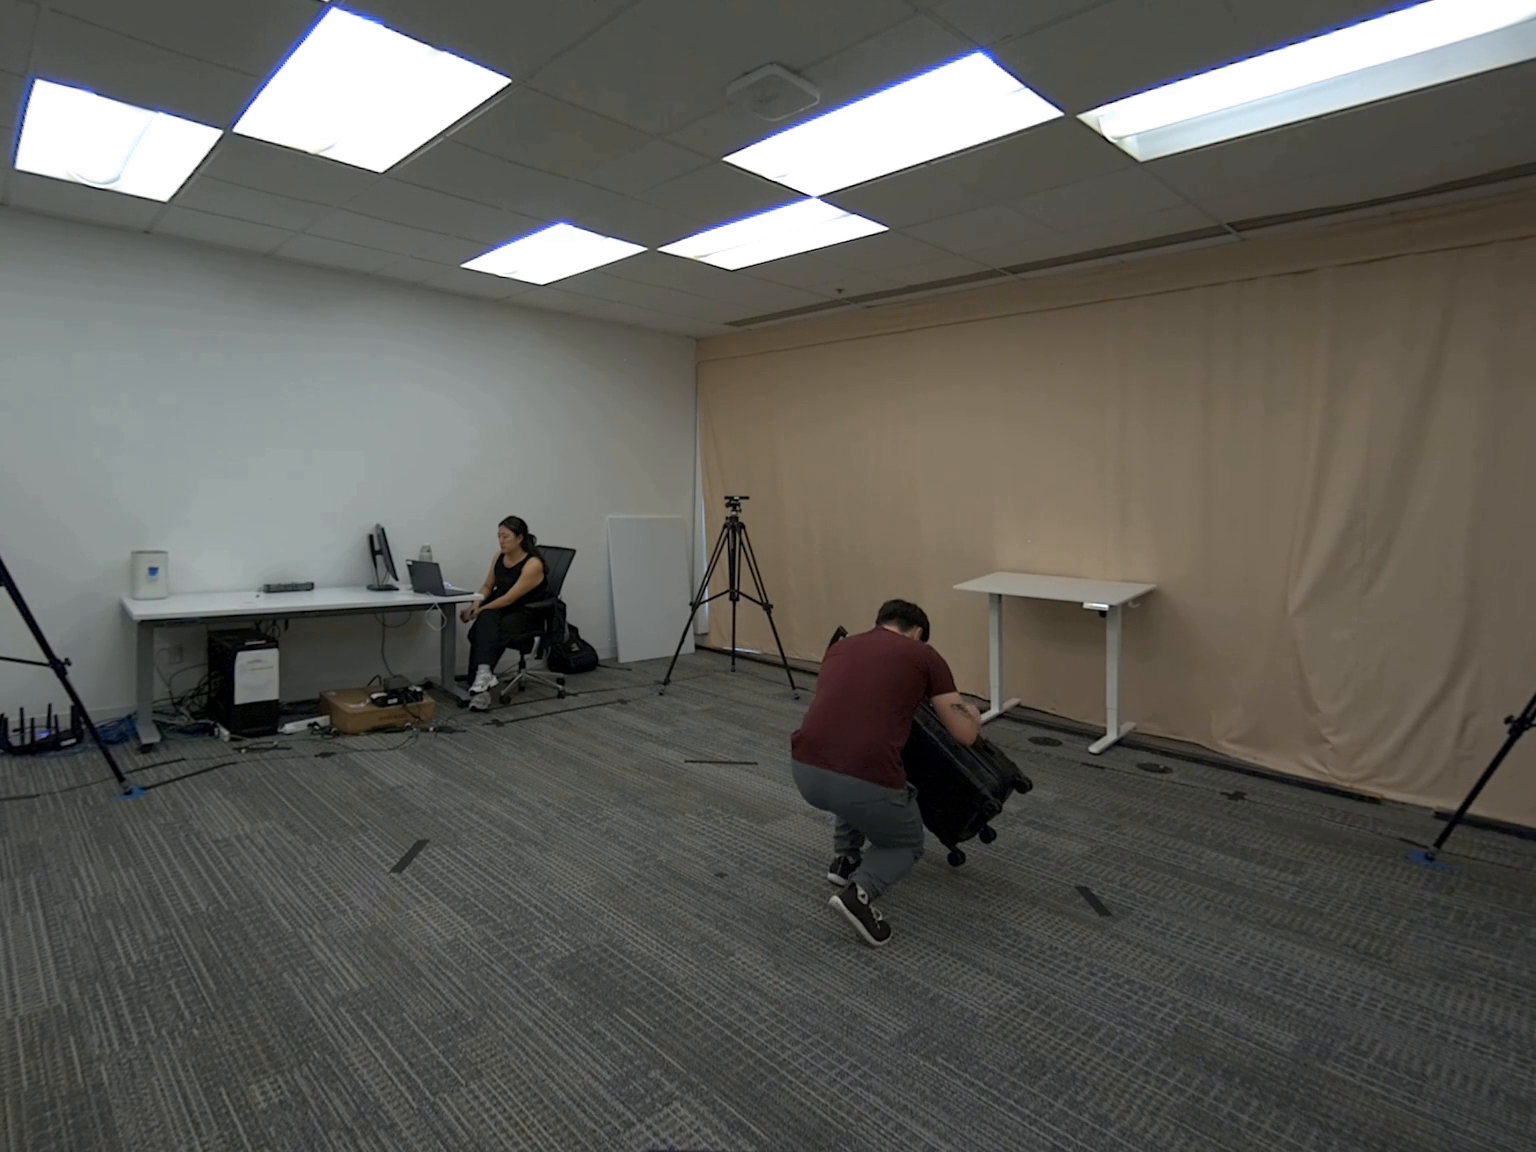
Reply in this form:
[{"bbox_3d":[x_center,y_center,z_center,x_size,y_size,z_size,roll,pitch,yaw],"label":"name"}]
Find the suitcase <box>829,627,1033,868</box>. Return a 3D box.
[{"bbox_3d":[0.519,0.589,3.272,0.253,0.379,1.007,-16,48,-40],"label":"suitcase"}]
